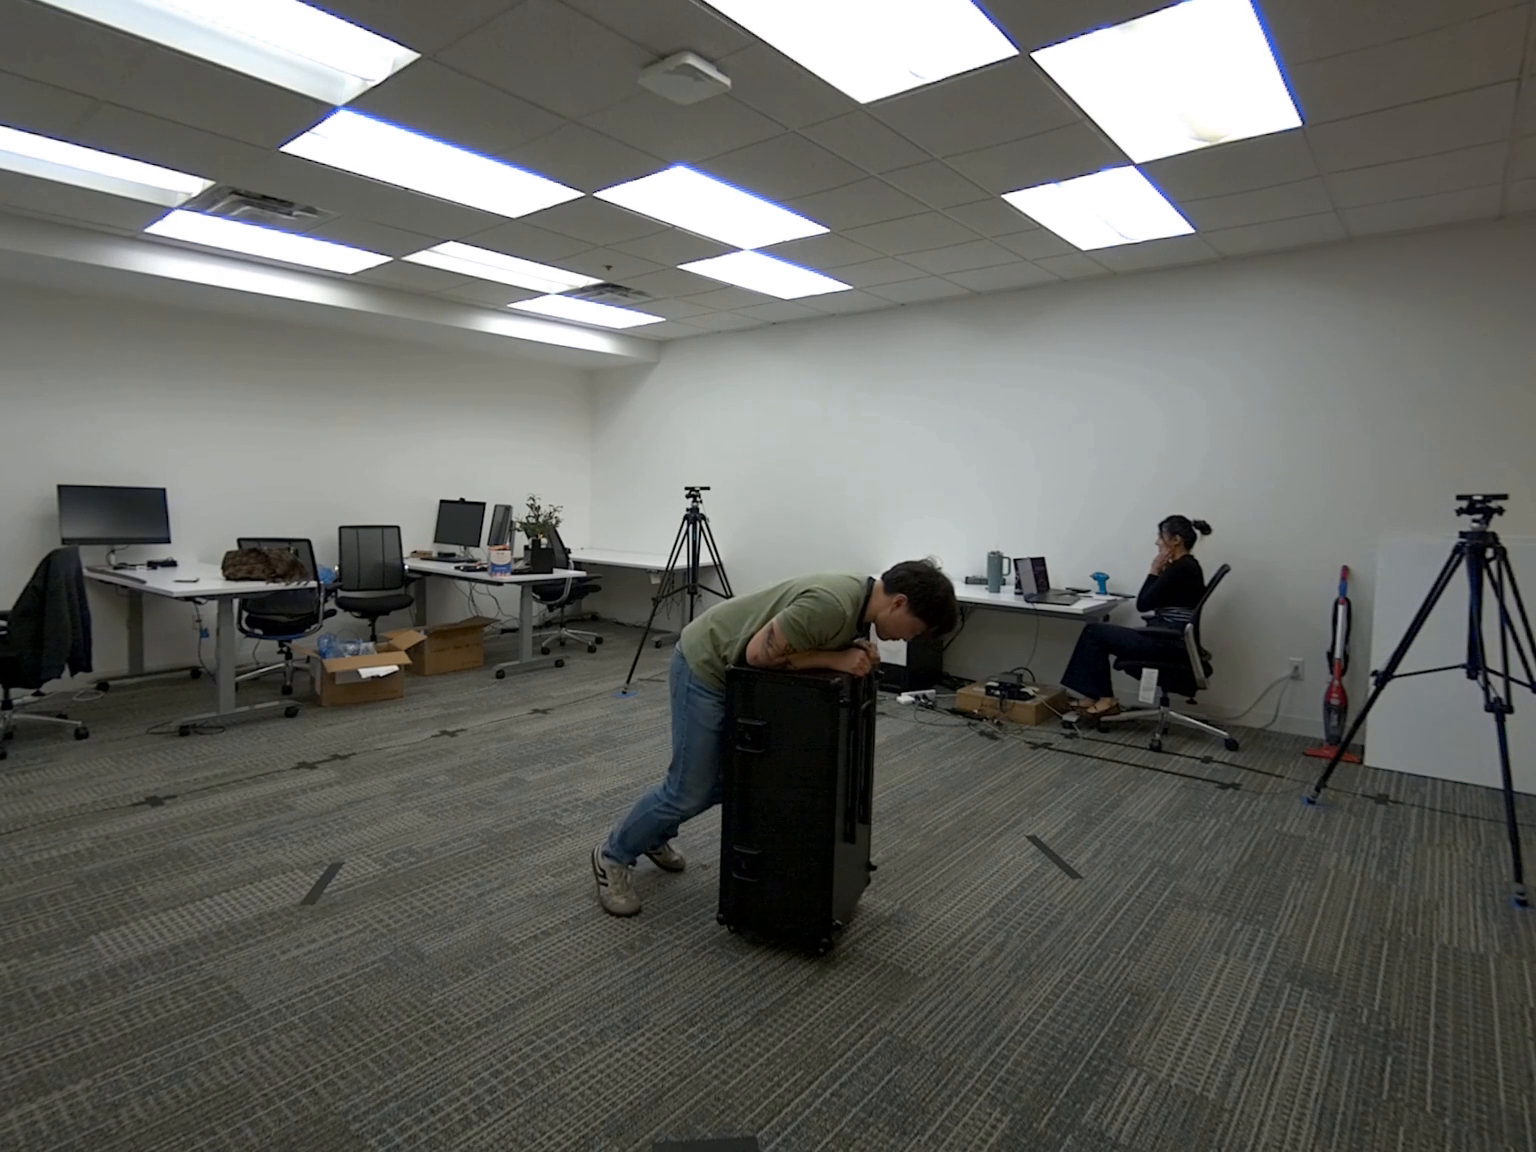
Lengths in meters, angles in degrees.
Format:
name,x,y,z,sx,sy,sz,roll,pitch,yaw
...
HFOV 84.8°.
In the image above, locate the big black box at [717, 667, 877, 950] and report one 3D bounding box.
name,x,y,z,sx,sy,sz,roll,pitch,yaw
big black box,0.106,0.690,2.701,0.406,0.859,0.510,3,3,22
